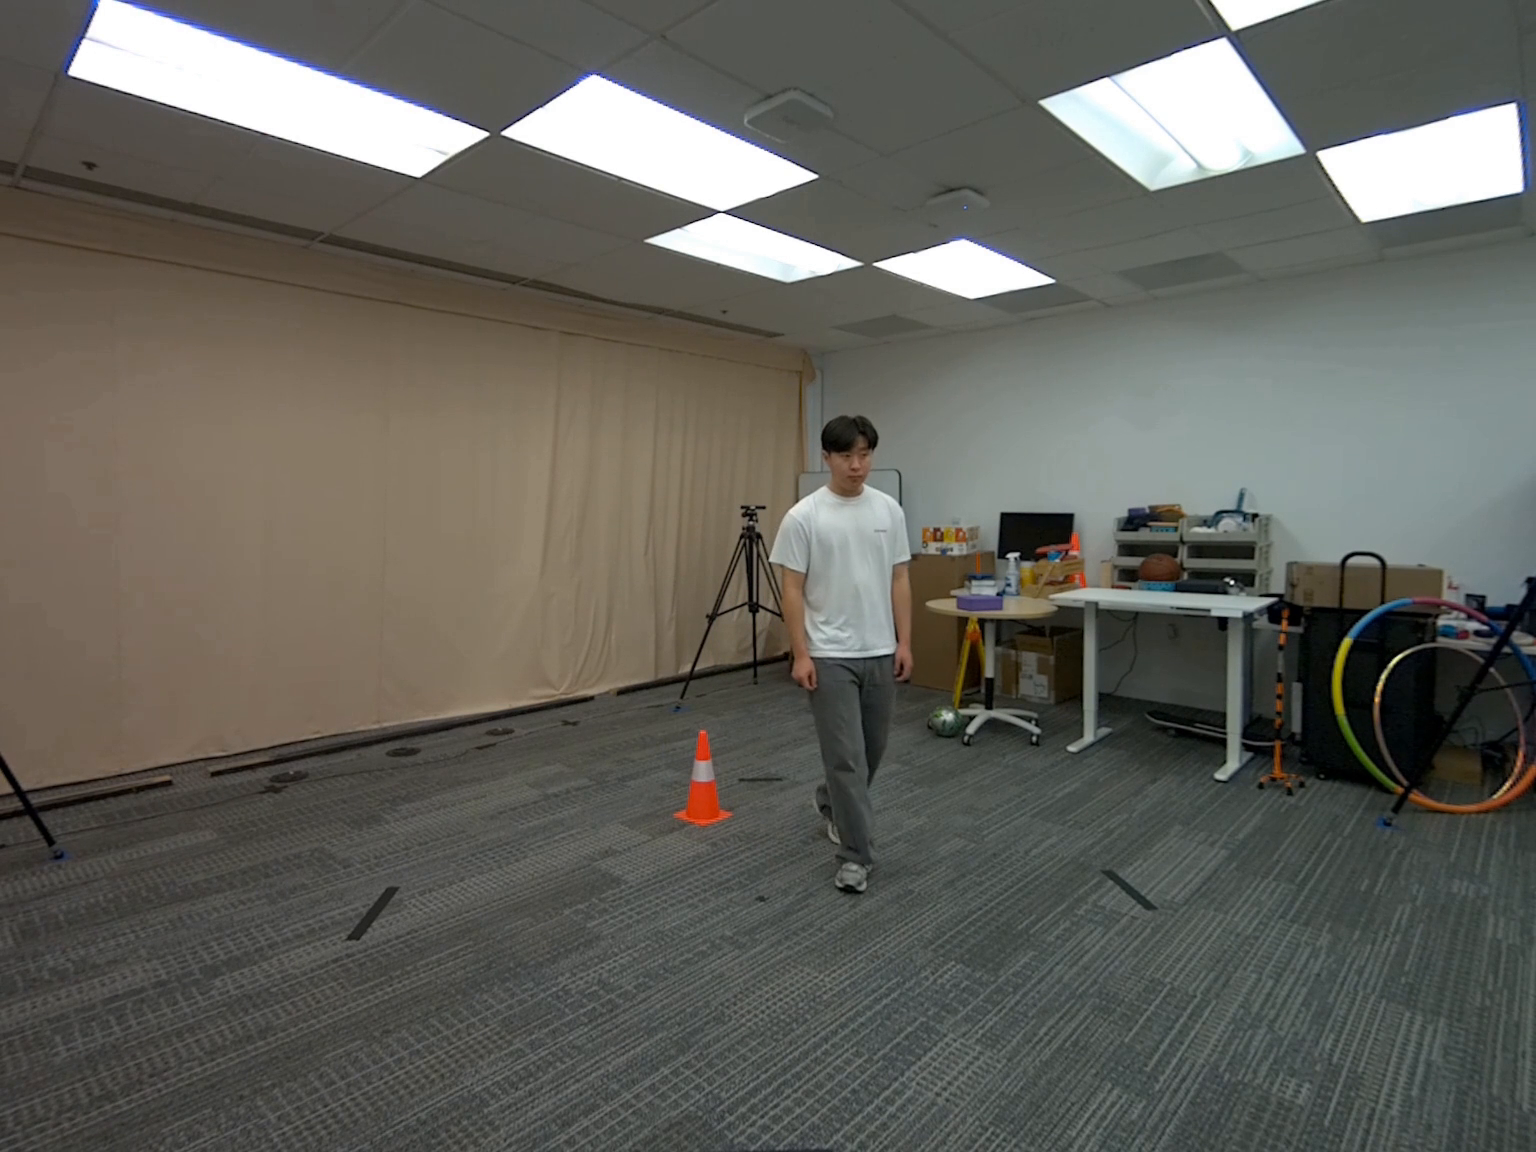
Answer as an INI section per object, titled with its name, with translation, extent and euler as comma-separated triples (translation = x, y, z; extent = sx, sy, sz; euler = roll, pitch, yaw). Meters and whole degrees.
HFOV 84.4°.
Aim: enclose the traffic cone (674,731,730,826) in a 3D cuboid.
[traffic cone]
translation = -0.289, 0.895, 3.802
extent = 0.197, 0.383, 0.212
euler = 0, 2, -42
